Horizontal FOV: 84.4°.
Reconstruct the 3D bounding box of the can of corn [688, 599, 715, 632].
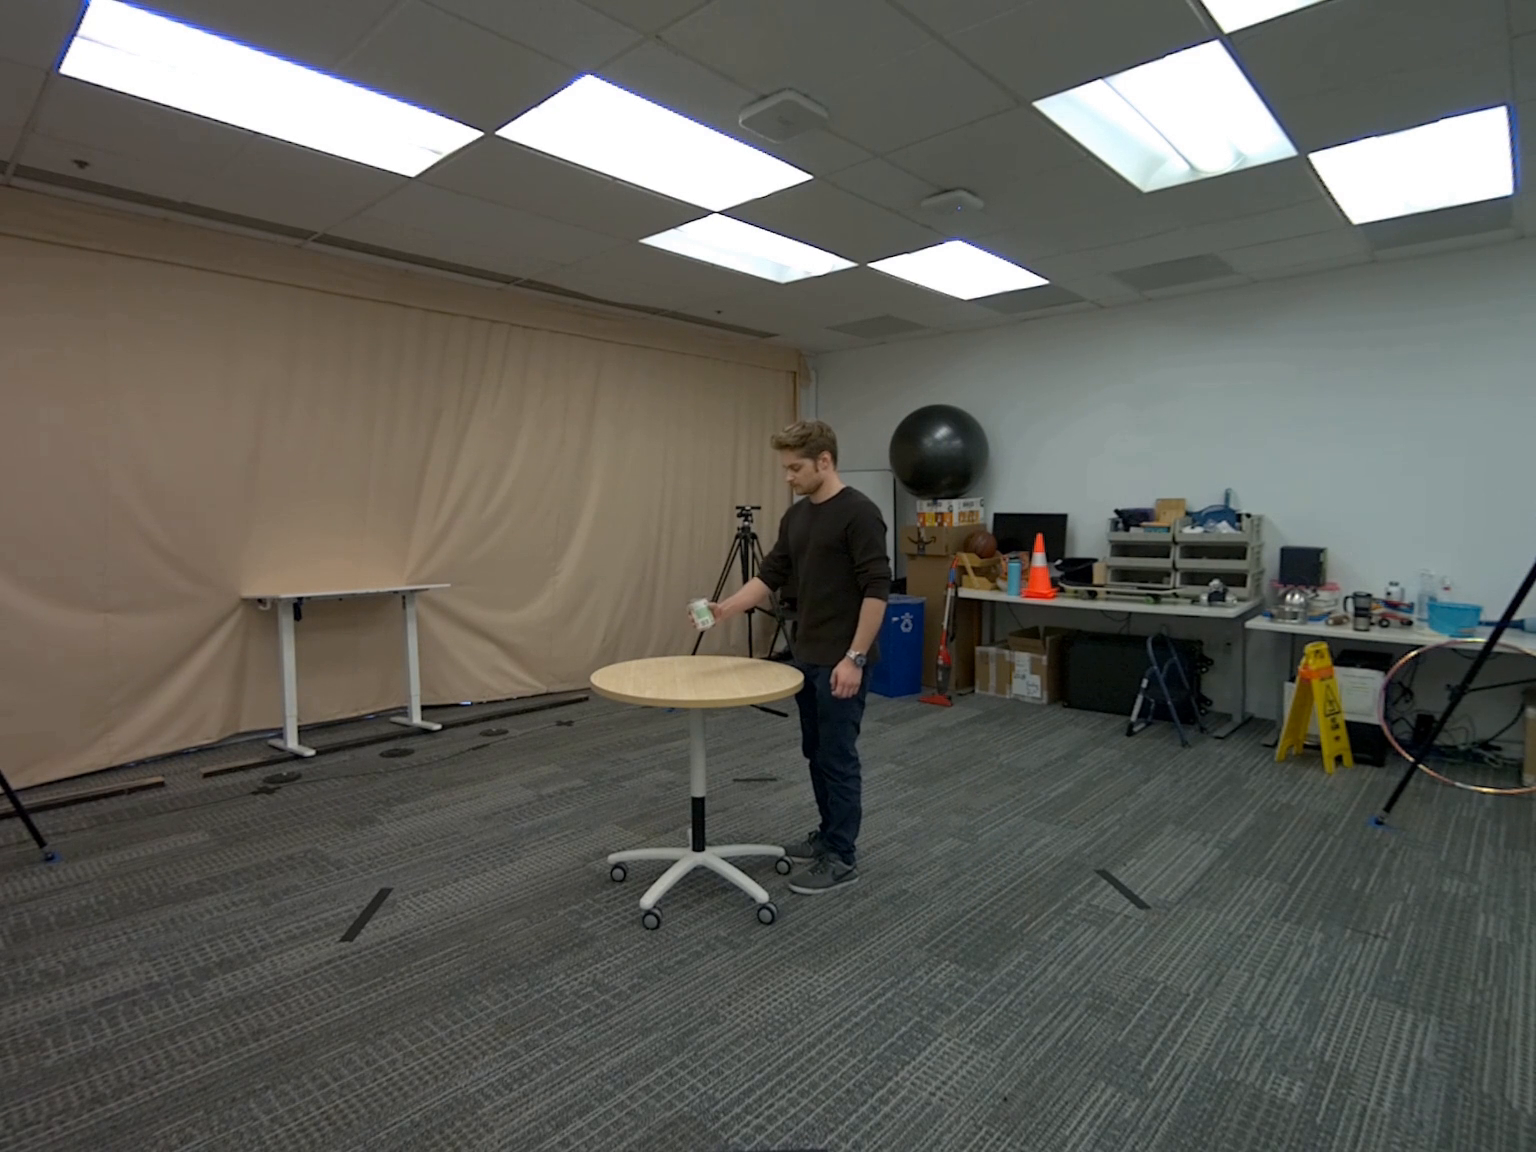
[{"bbox_3d":[-0.230,0.145,3.100,0.074,0.111,0.074,-19,4,0],"label":"can of corn"}]
